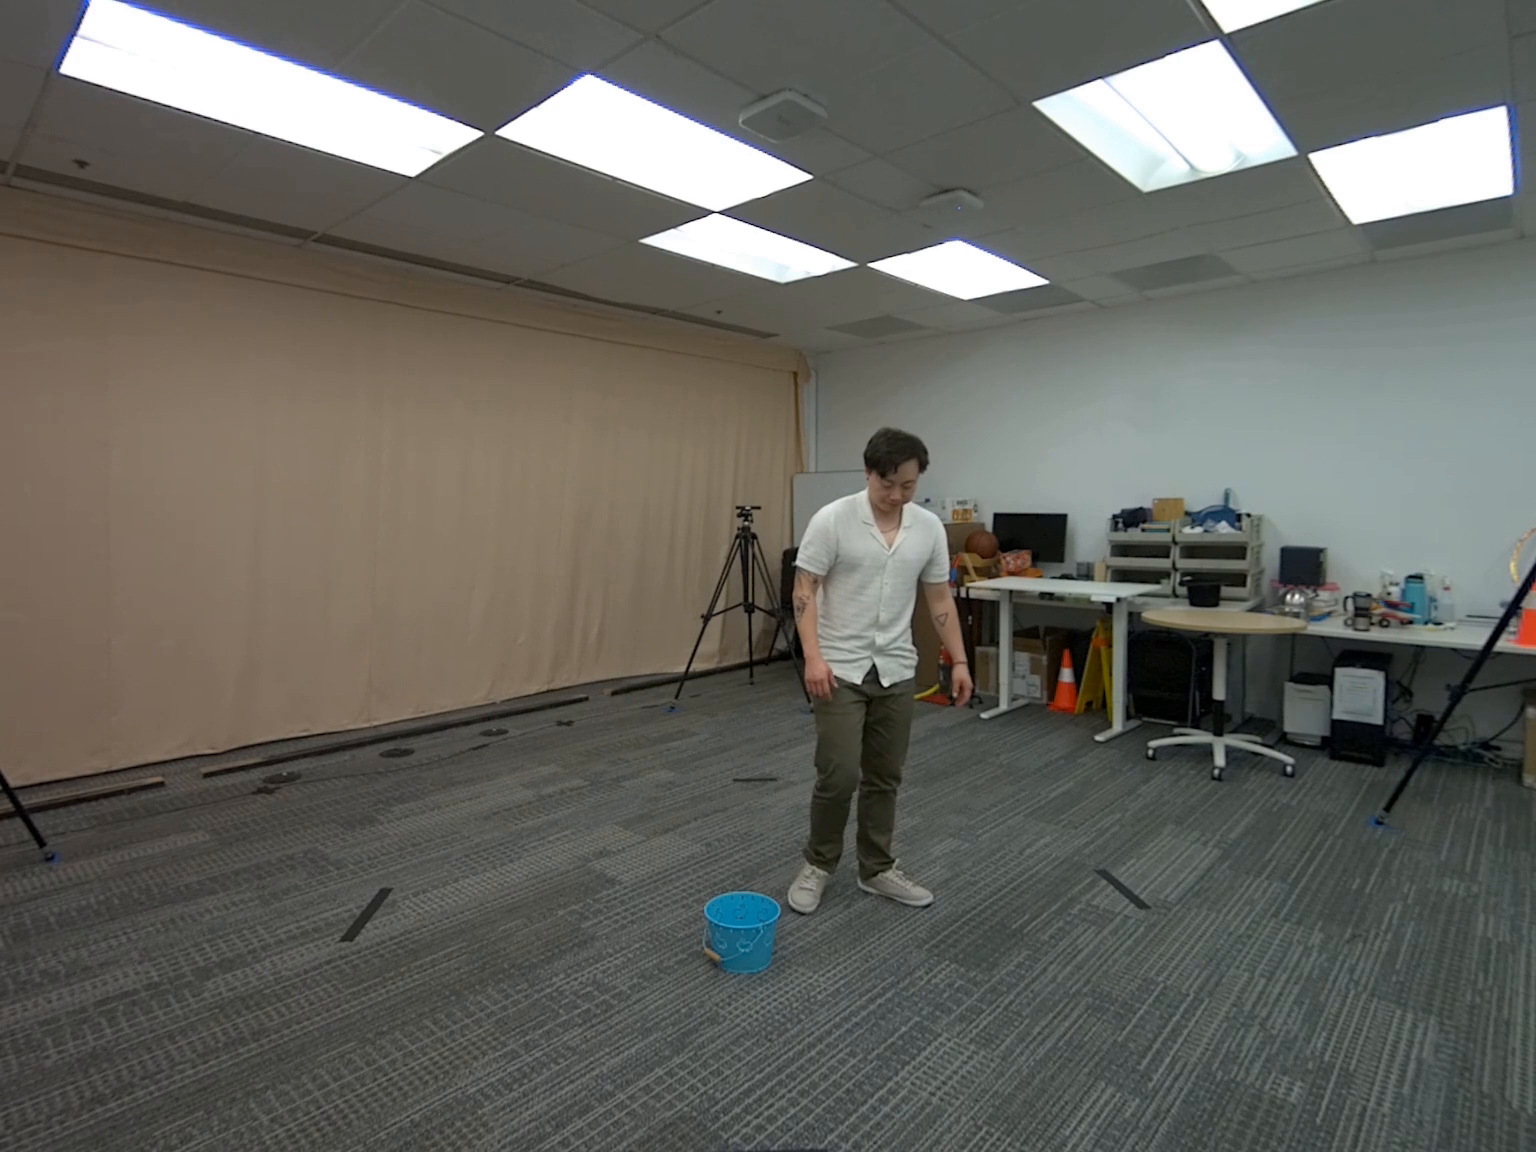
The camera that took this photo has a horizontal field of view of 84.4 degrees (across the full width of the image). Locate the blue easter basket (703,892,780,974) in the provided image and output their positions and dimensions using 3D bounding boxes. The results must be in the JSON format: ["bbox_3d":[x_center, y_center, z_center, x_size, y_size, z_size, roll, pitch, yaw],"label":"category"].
[{"bbox_3d":[-0.080,1.100,2.592,0.243,0.155,0.244,0,4,-2],"label":"blue easter basket"}]
